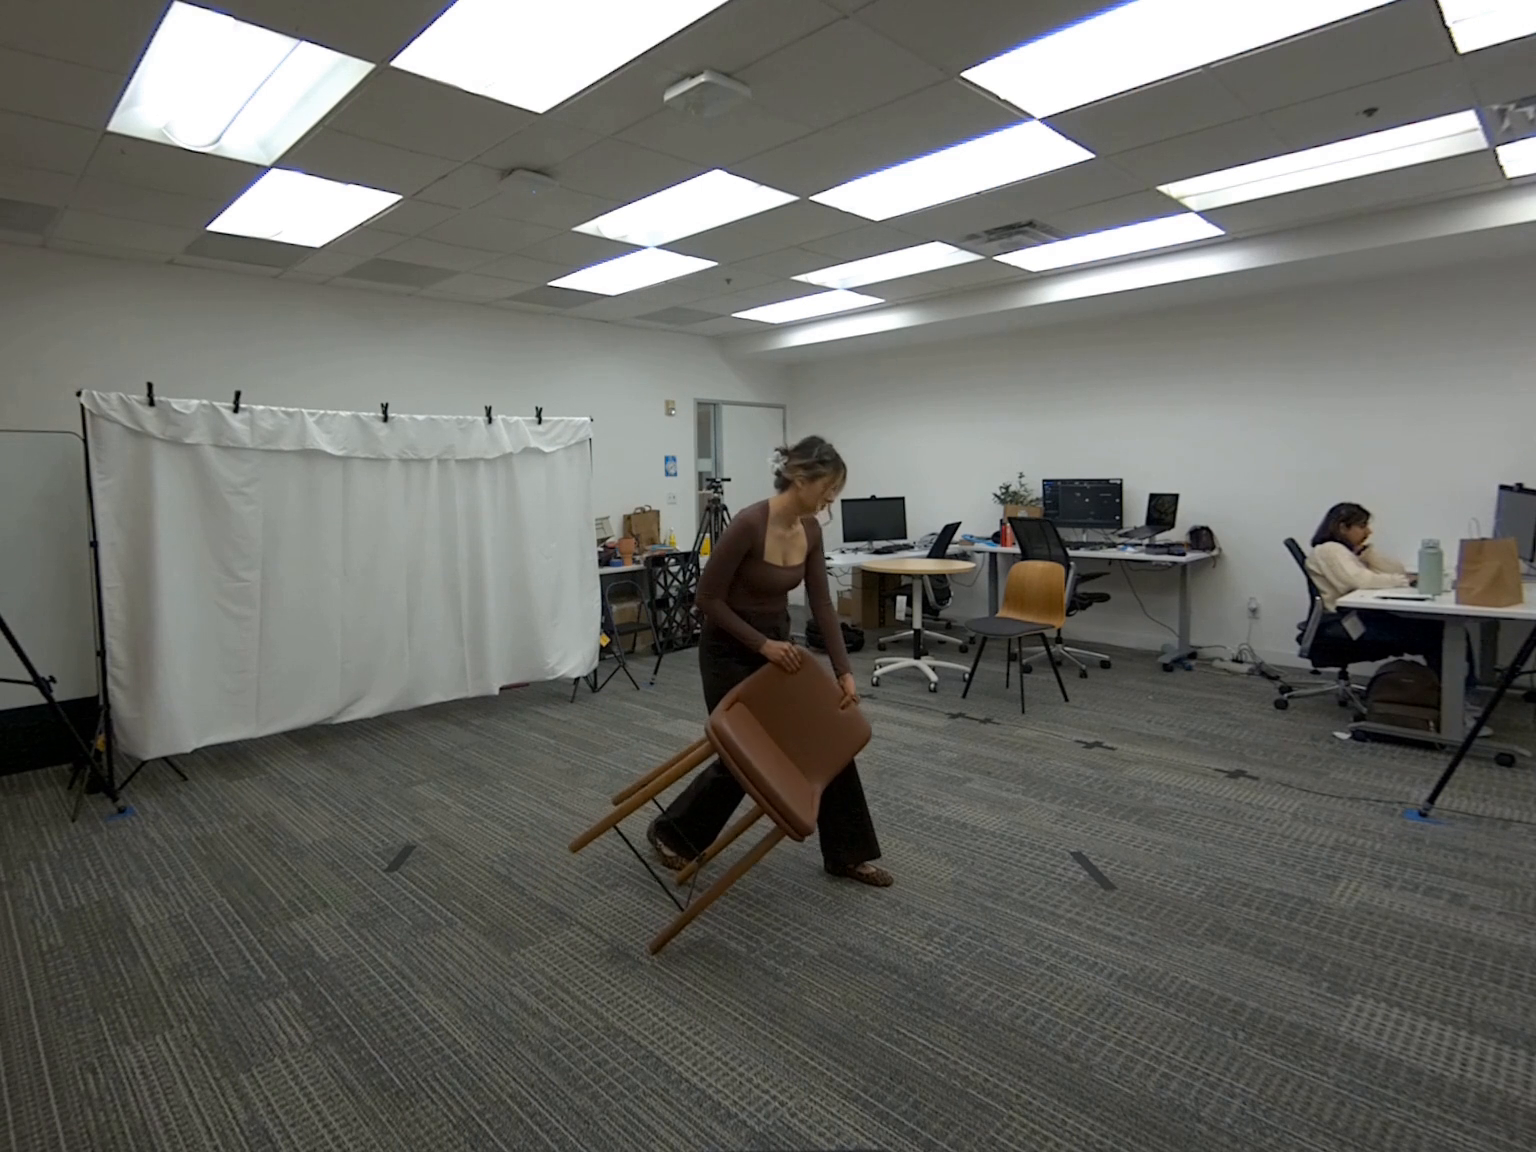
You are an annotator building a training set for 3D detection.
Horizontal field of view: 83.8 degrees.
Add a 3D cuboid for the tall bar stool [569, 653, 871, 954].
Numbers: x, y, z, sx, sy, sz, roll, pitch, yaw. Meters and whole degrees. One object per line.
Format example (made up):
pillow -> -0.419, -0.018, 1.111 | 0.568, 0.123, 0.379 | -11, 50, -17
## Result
tall bar stool -> -0.122, 0.670, 2.692 | 0.890, 0.458, 0.466 | -40, -1, 6
